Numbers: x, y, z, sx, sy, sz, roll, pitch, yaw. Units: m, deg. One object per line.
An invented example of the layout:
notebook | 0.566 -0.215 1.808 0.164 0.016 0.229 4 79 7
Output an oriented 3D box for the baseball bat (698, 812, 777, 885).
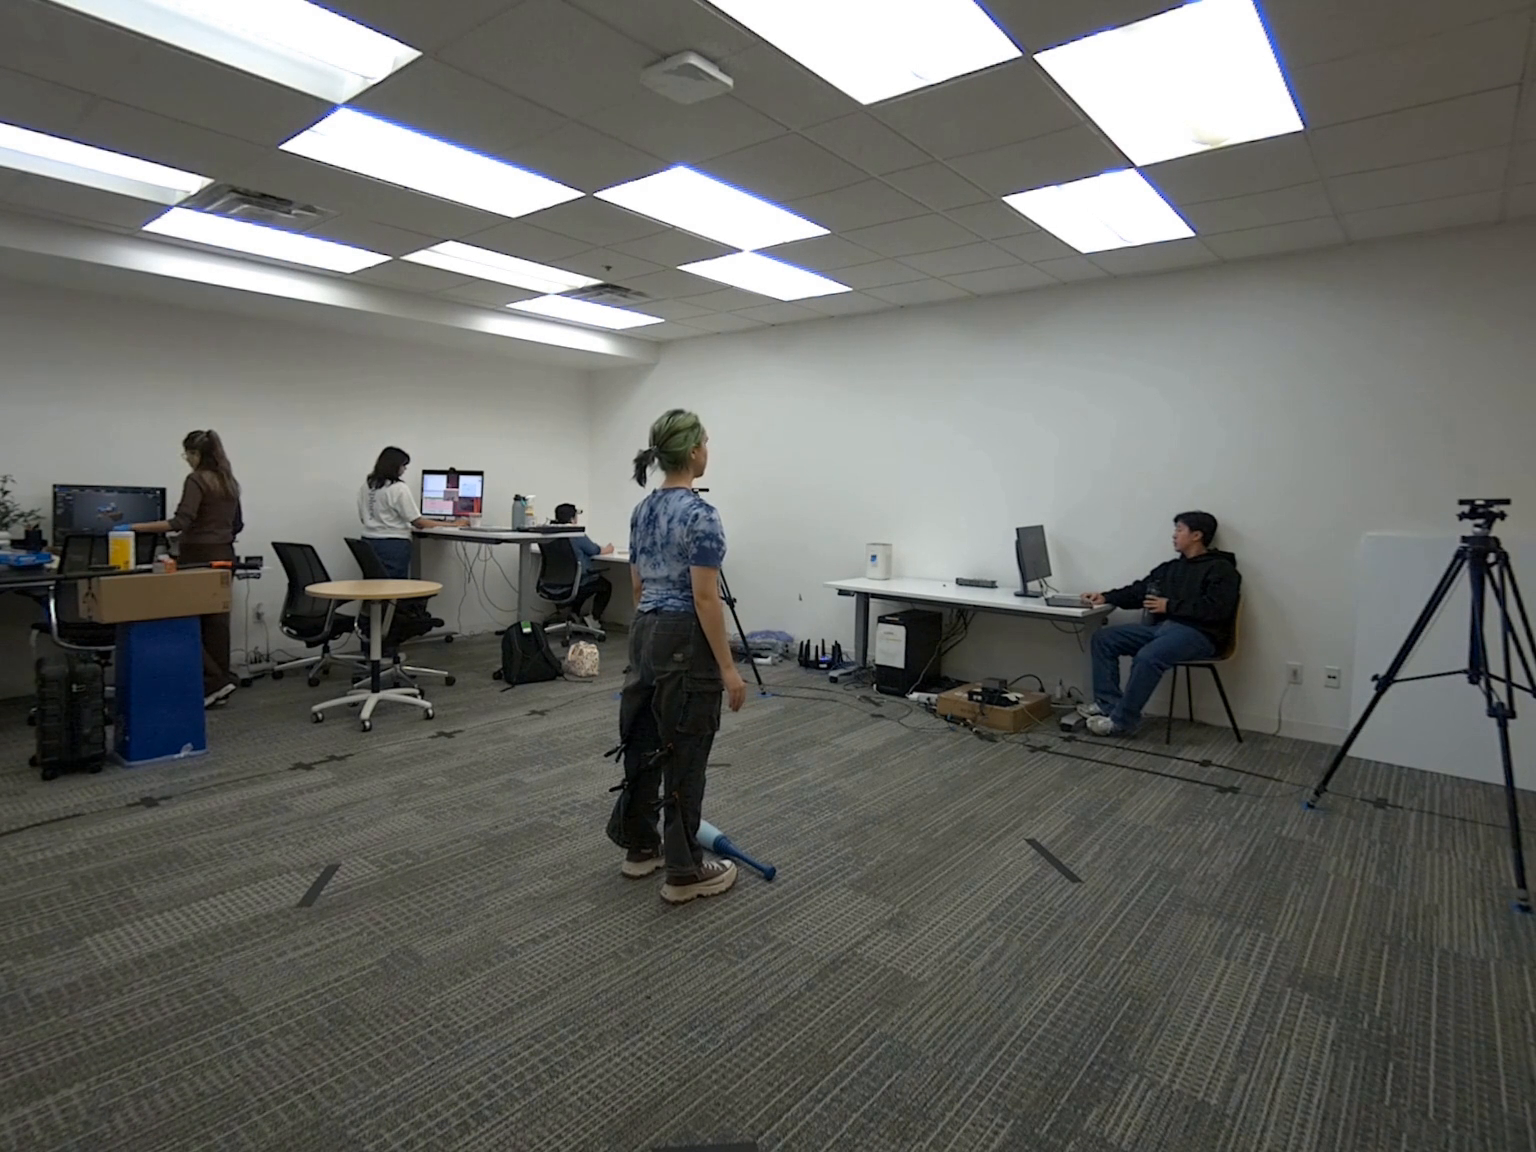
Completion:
baseball bat | -0.184 1.017 3.226 0.086 0.088 0.562 -2 8 -39
